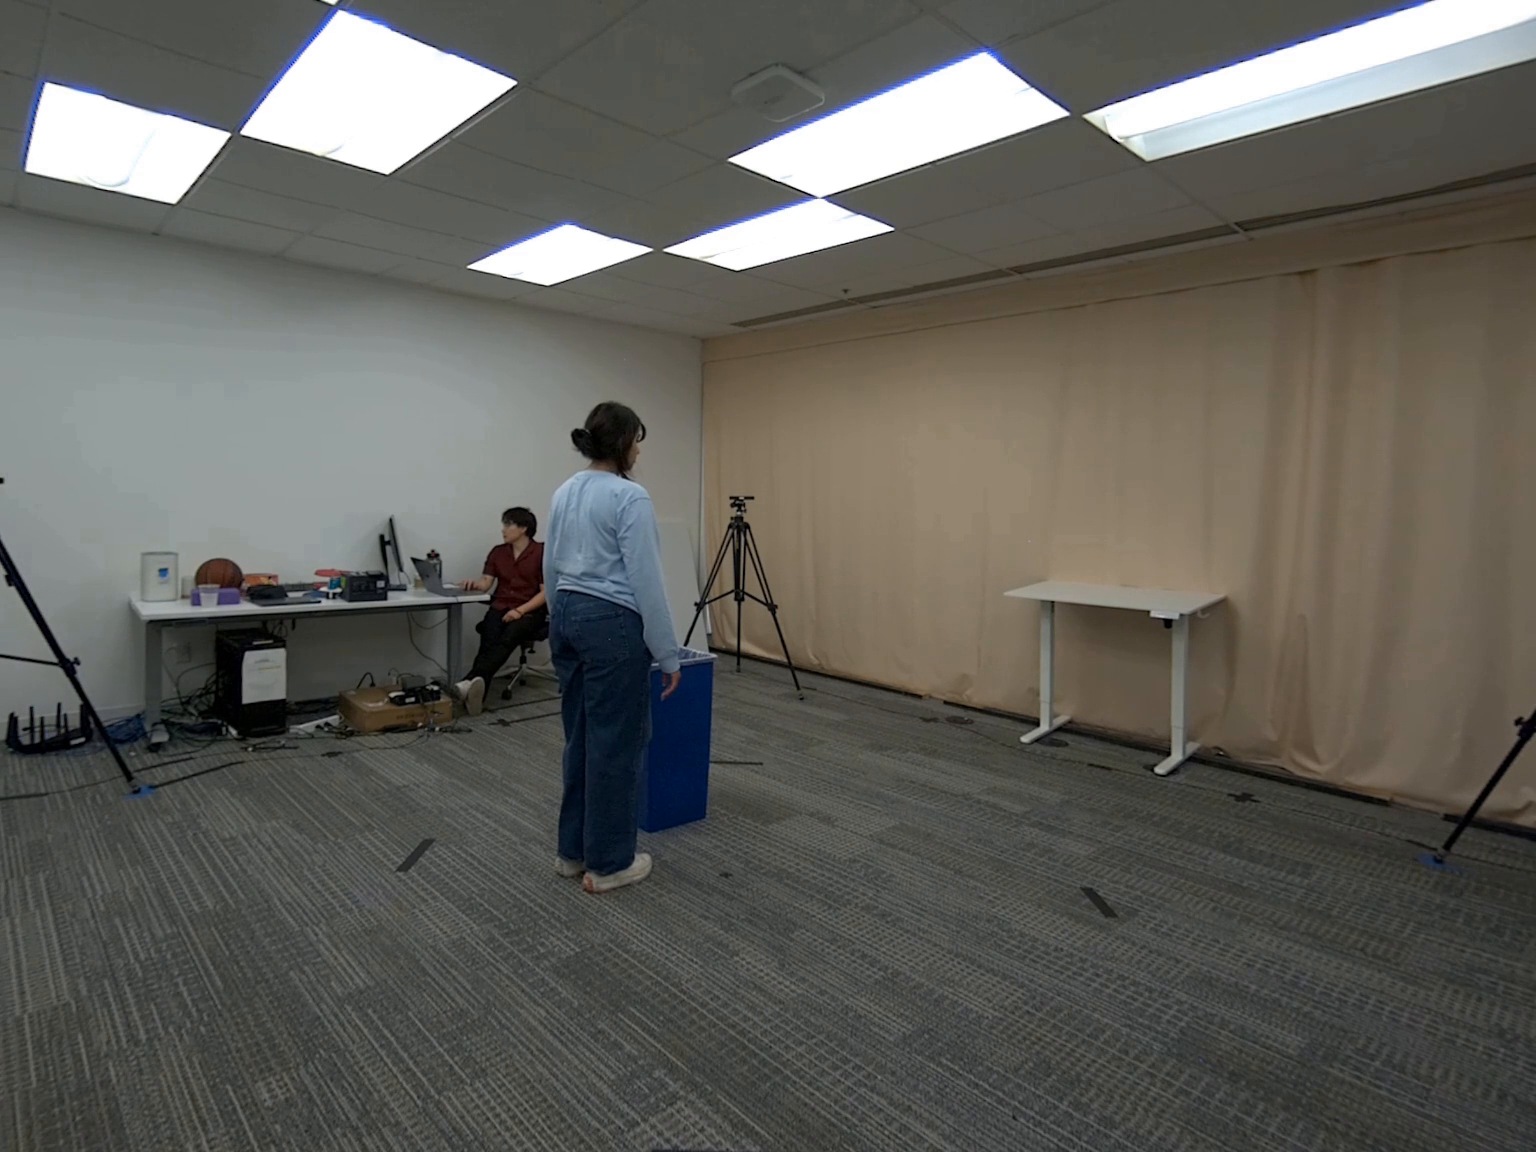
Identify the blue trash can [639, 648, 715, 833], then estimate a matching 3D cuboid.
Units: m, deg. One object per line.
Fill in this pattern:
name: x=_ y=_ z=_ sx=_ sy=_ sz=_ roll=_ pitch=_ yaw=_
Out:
blue trash can: x=-0.479 y=0.691 z=3.657 sx=0.365 sy=0.712 sz=0.388 roll=-2 pitch=4 yaw=-41
